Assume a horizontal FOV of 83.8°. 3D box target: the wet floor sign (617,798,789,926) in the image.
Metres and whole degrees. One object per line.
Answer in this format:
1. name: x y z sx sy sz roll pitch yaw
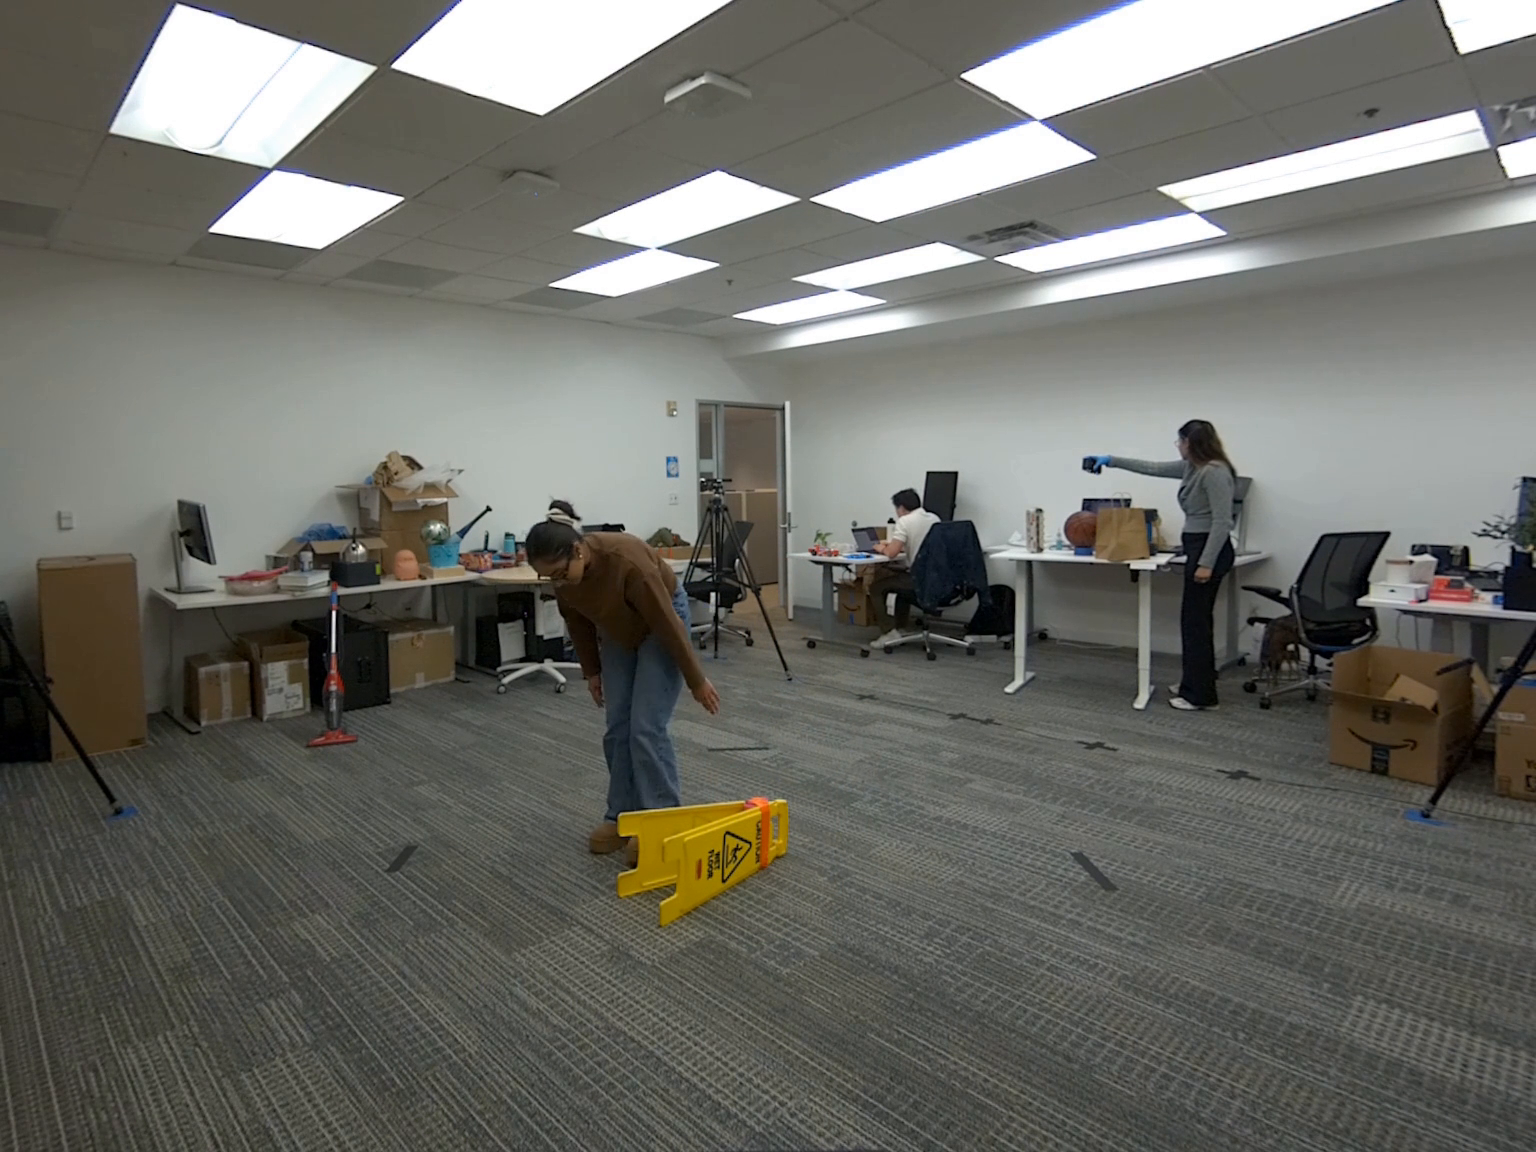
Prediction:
1. wet floor sign: -0.177 0.936 2.970 0.628 0.281 0.299 -2 5 -40
